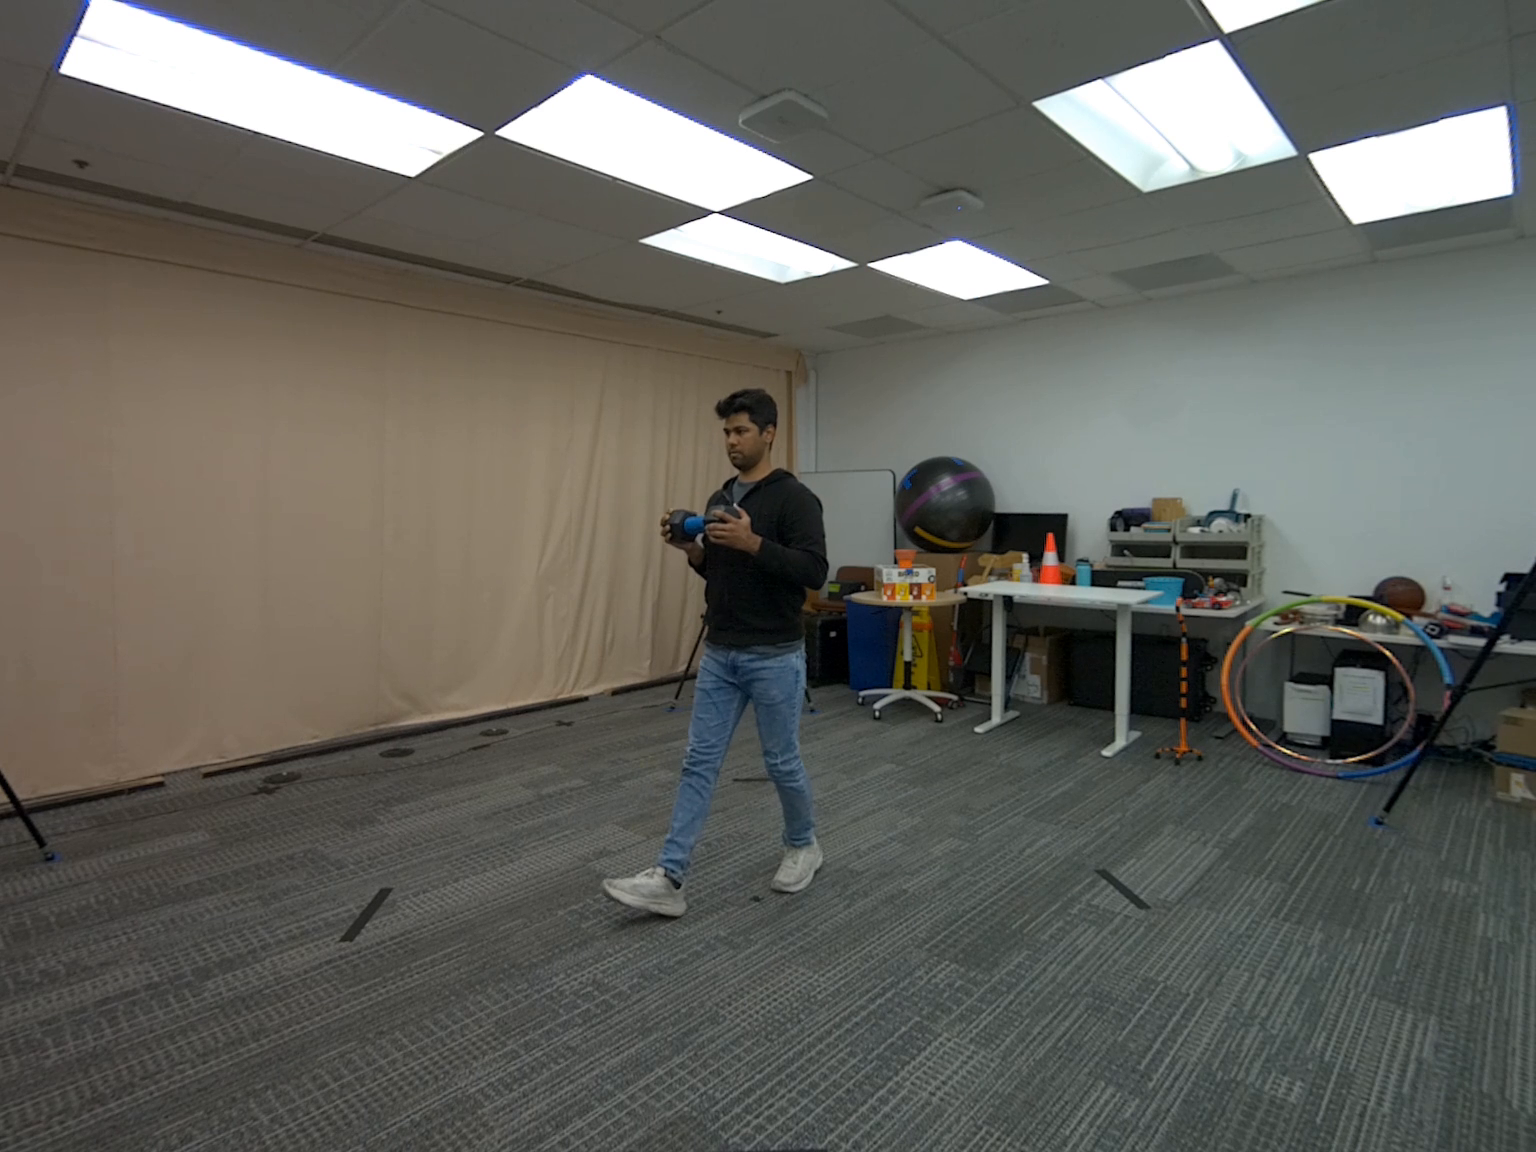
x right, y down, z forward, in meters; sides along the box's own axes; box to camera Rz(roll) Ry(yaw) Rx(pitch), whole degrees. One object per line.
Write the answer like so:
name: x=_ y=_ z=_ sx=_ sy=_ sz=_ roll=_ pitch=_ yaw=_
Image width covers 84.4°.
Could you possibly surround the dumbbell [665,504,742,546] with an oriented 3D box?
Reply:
dumbbell: x=-0.219 y=-0.159 z=2.844 sx=0.107 sy=0.121 sz=0.303 roll=-29 pitch=19 yaw=-37
